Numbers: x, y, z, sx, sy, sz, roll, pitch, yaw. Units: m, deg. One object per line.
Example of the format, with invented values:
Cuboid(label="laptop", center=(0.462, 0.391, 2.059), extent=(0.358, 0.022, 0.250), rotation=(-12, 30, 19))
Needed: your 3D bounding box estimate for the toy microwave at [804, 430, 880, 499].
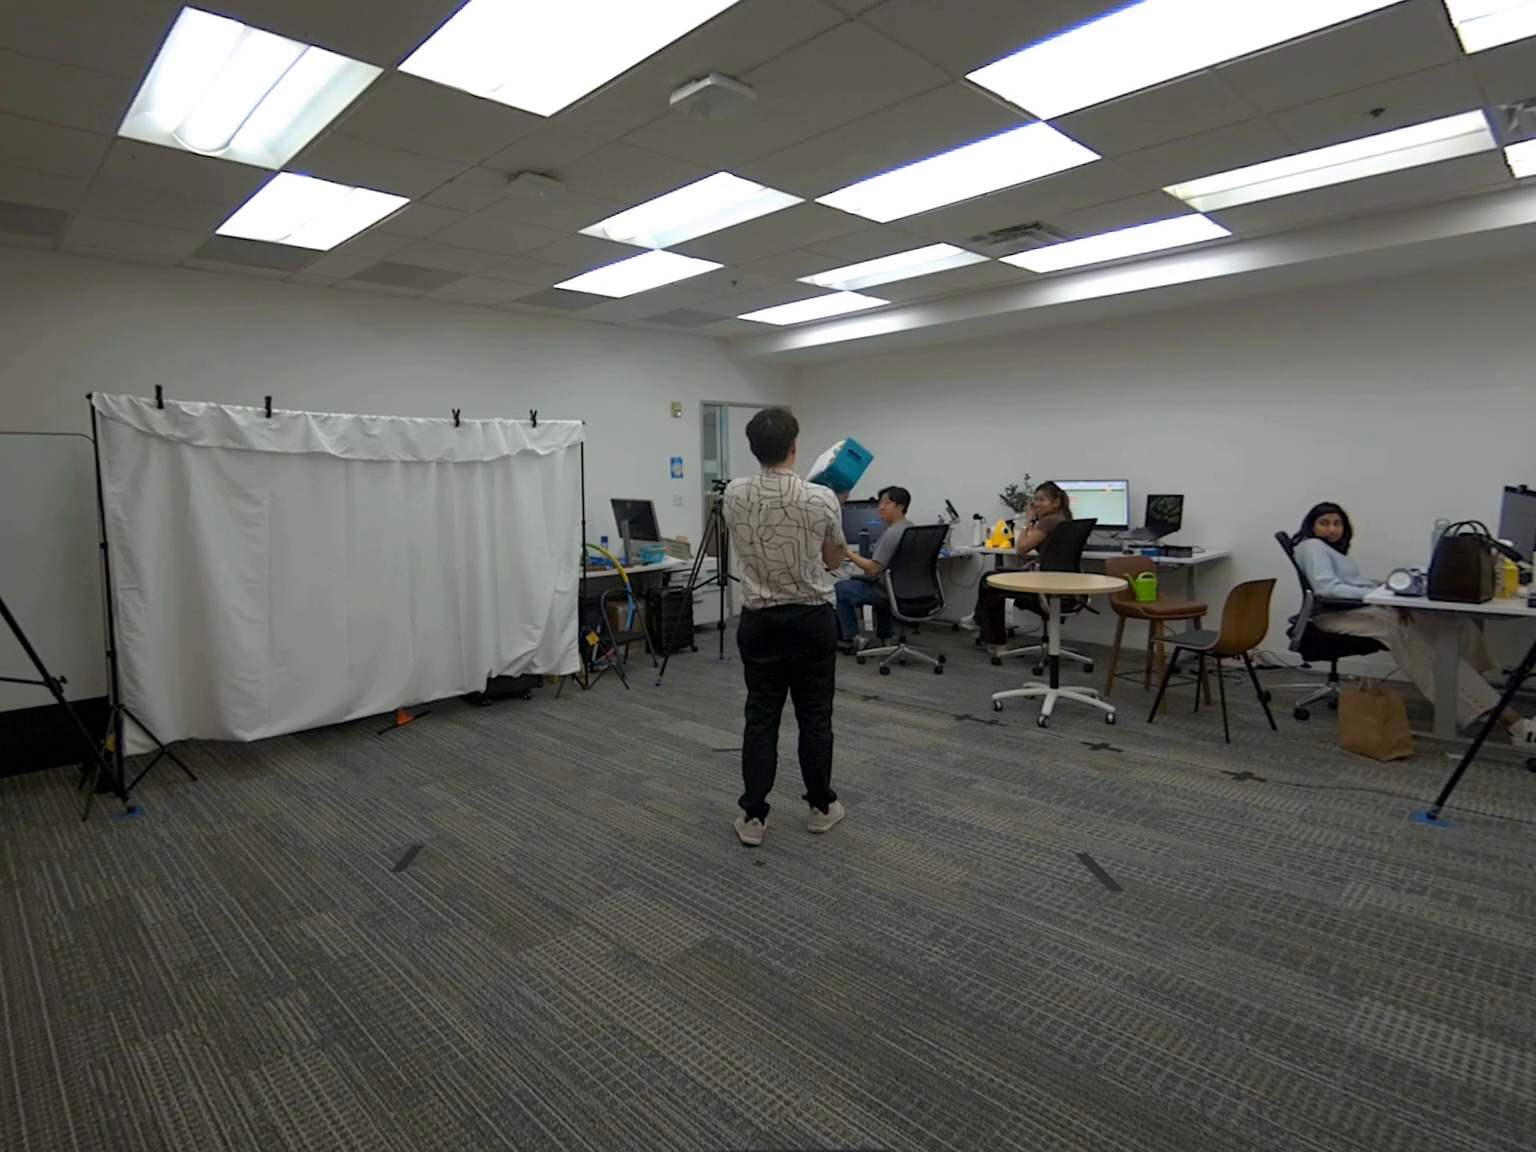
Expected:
Cuboid(label="toy microwave", center=(0.289, -0.438, 3.499), extent=(0.151, 0.185, 0.288), rotation=(38, -18, -8))
